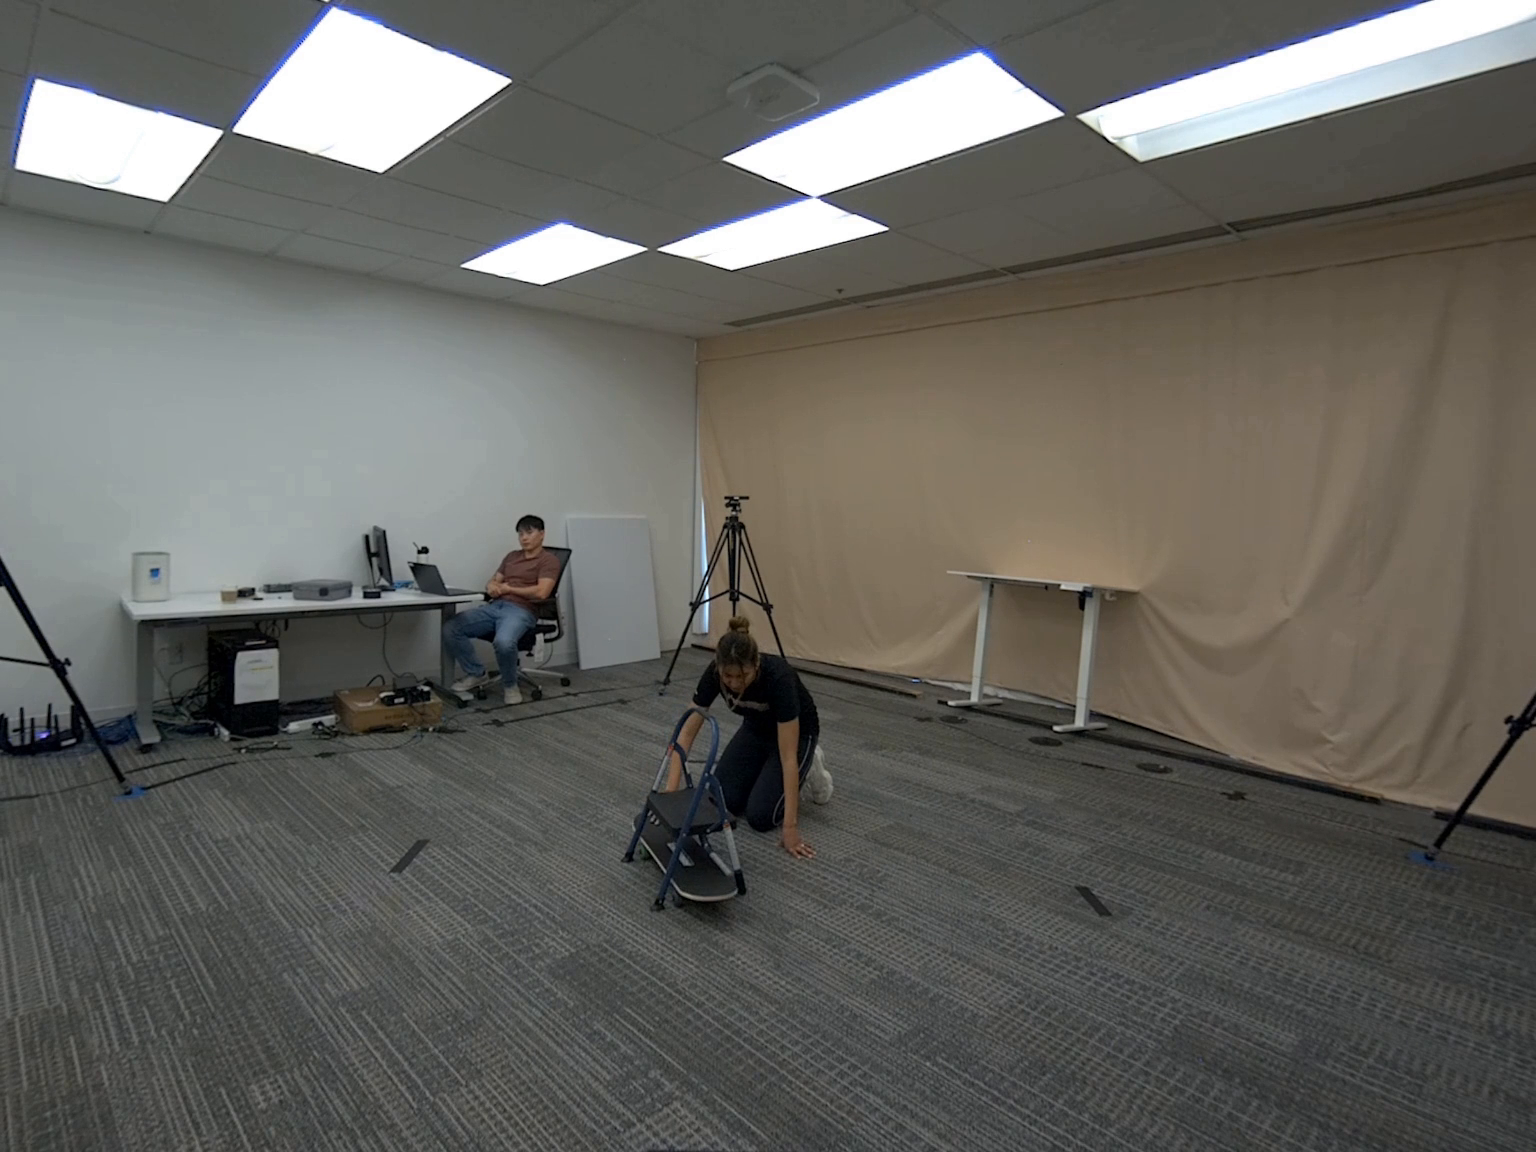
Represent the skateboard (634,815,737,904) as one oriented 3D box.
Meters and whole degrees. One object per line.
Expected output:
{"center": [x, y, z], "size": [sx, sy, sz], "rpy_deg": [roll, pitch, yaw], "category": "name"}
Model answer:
{"center": [-0.320, 1.039, 3.070], "size": [0.190, 0.110, 0.801], "rpy_deg": [-1, 5, -24], "category": "skateboard"}
